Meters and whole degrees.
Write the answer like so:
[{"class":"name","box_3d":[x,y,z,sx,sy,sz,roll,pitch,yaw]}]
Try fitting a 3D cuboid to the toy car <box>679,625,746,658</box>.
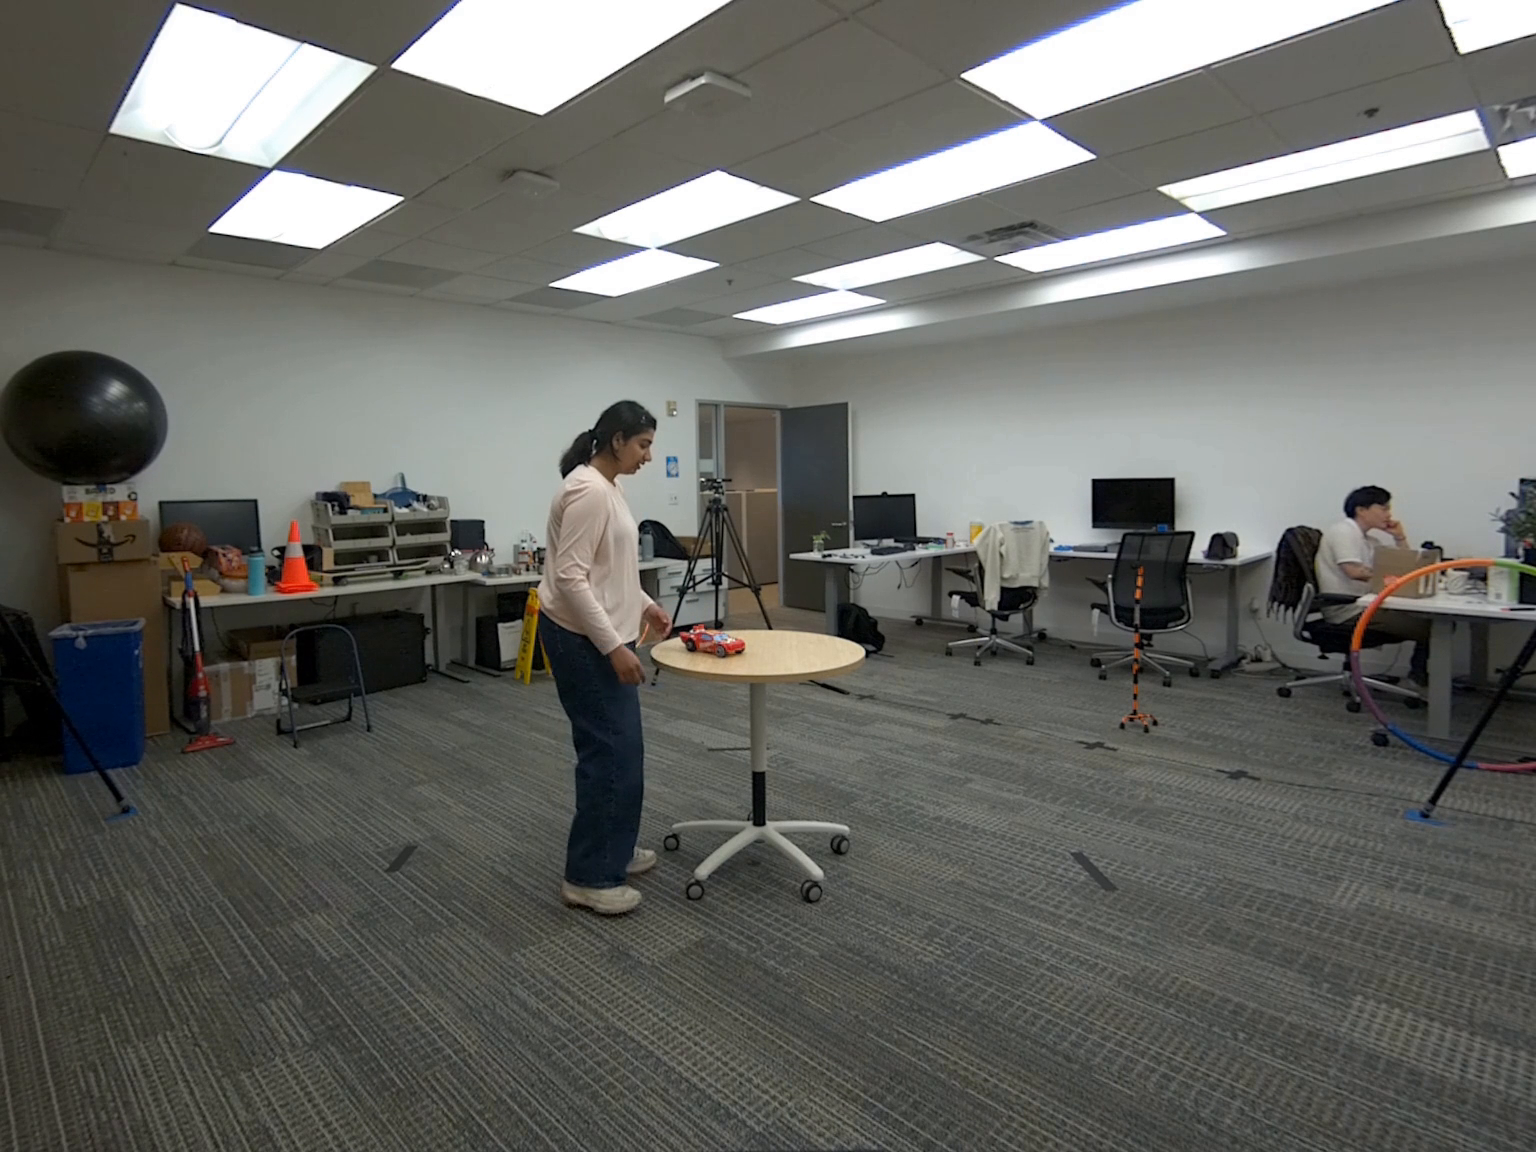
[{"class":"toy car","box_3d":[-0.200,0.235,3.045,0.264,0.082,0.127,19,17,39]}]
